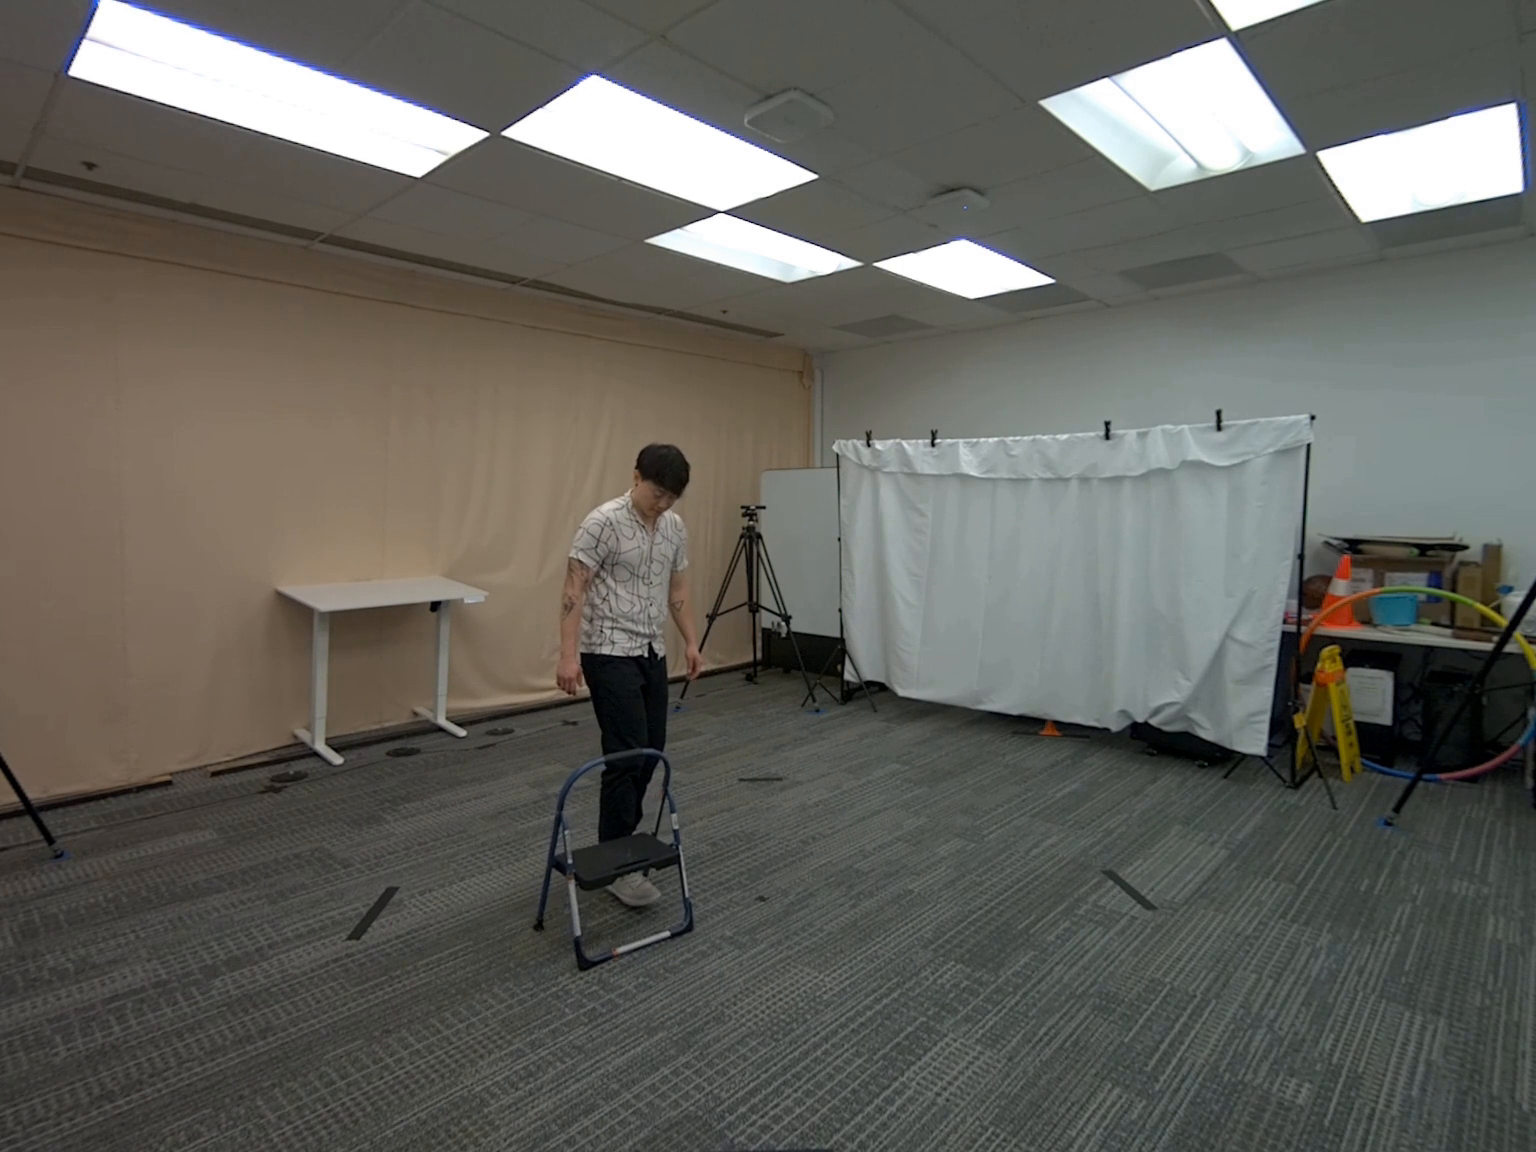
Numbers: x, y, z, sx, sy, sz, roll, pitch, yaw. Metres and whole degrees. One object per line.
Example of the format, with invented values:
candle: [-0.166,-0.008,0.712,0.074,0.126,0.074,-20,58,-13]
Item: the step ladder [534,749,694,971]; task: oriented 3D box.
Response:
step ladder: [-0.506,0.863,2.760,0.418,0.604,0.360,-4,5,-38]
